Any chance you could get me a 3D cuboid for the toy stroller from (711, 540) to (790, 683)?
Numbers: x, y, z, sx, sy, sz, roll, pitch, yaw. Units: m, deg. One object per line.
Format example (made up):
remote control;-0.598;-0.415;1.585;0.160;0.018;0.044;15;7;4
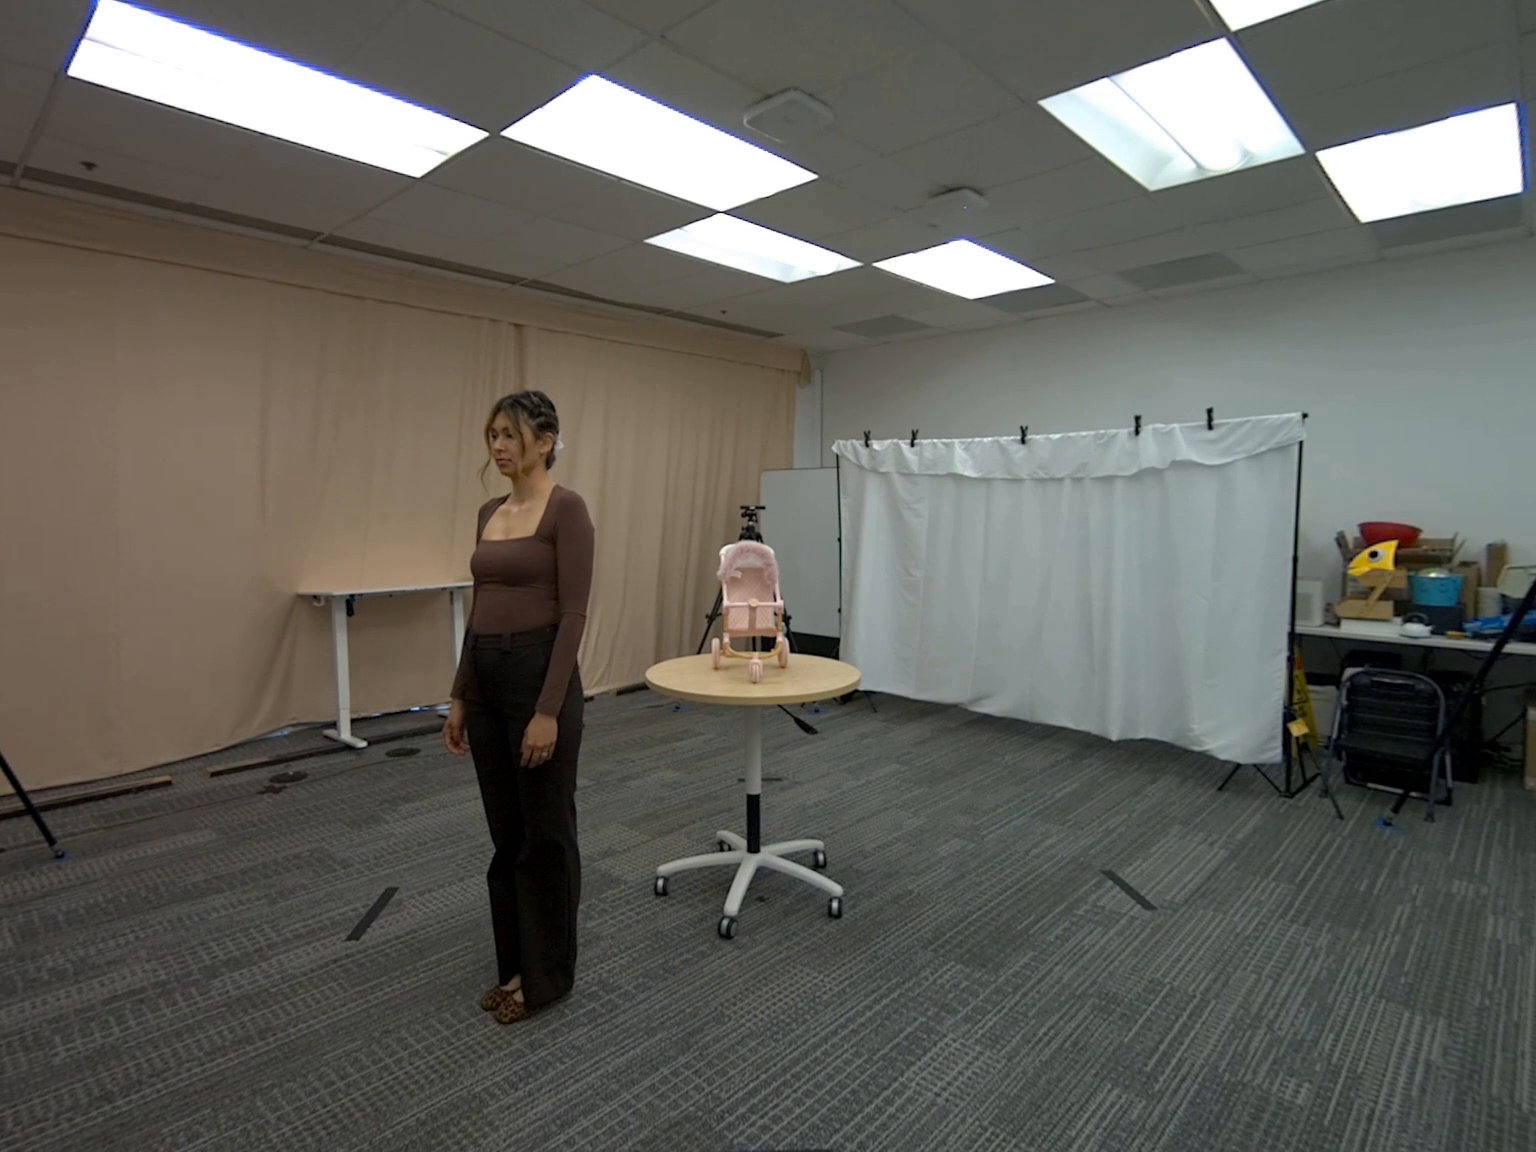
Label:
toy stroller;-0.060;0.119;3.008;0.281;0.539;0.339;-1;-10;-2
